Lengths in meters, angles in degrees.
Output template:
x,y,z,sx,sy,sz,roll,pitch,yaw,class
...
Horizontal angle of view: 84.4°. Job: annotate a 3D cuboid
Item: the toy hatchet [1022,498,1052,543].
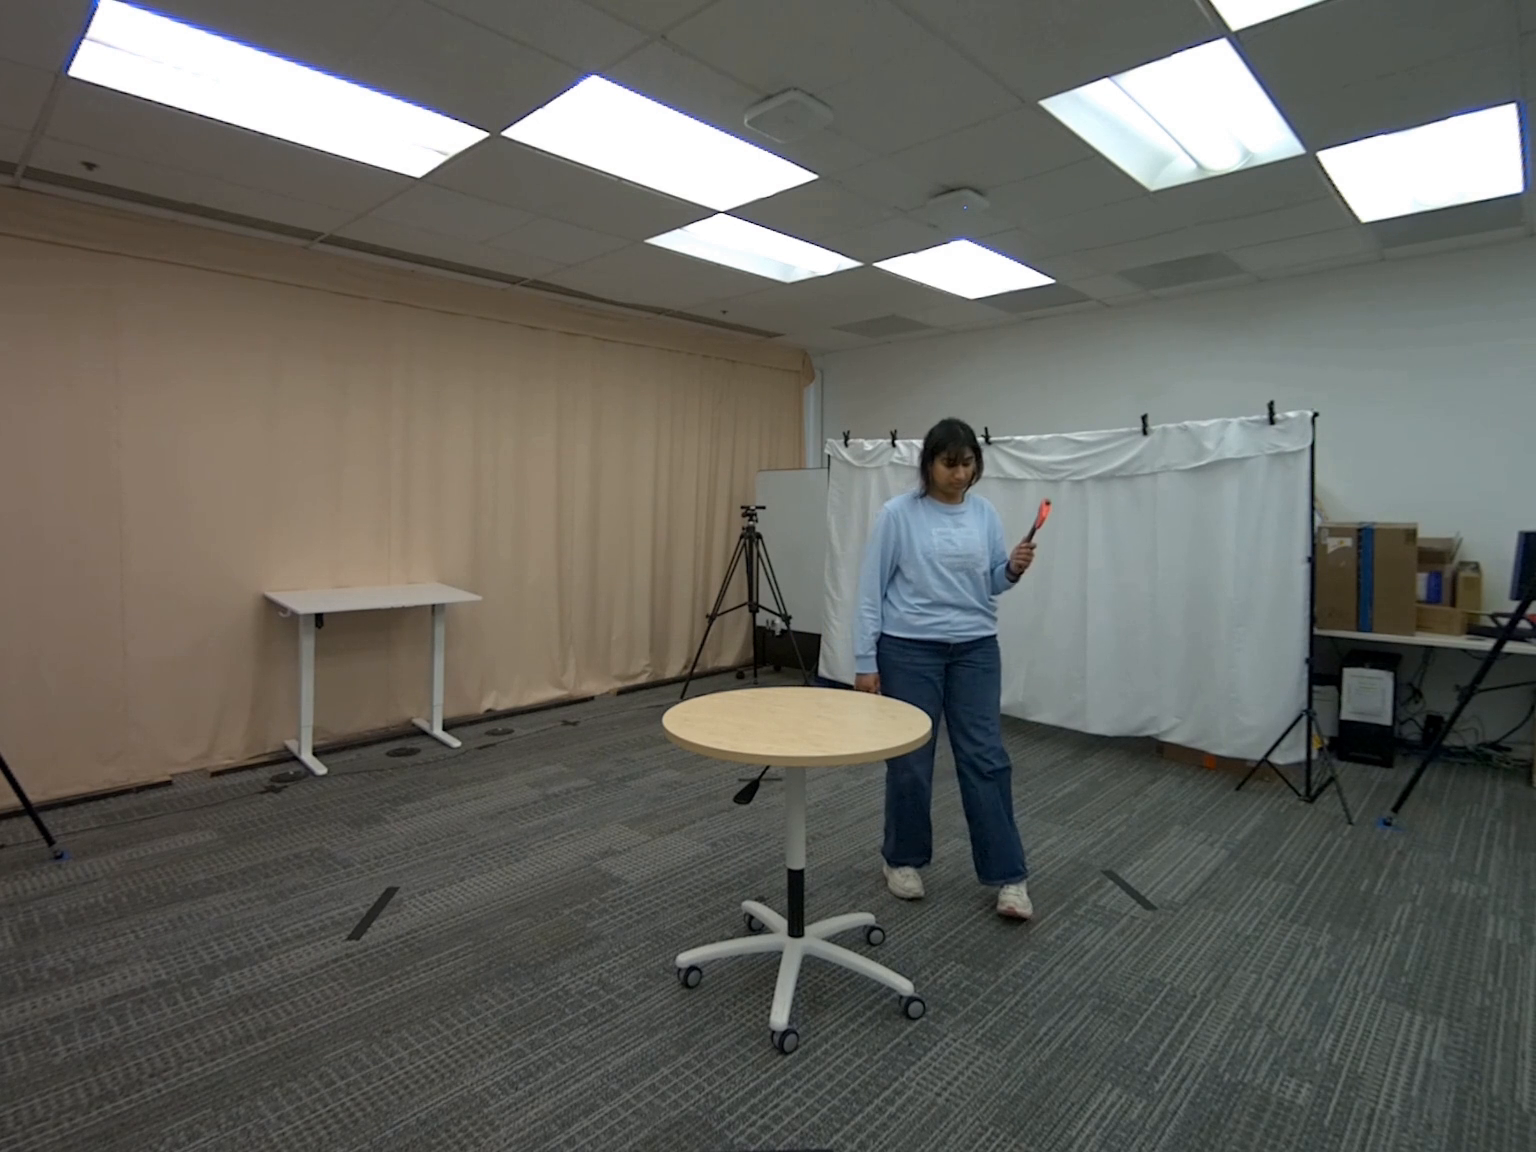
x,y,z,sx,sy,sz,roll,pitch,yaw,class
0.853,-0.125,2.747,0.030,0.269,0.131,22,18,1,toy hatchet
